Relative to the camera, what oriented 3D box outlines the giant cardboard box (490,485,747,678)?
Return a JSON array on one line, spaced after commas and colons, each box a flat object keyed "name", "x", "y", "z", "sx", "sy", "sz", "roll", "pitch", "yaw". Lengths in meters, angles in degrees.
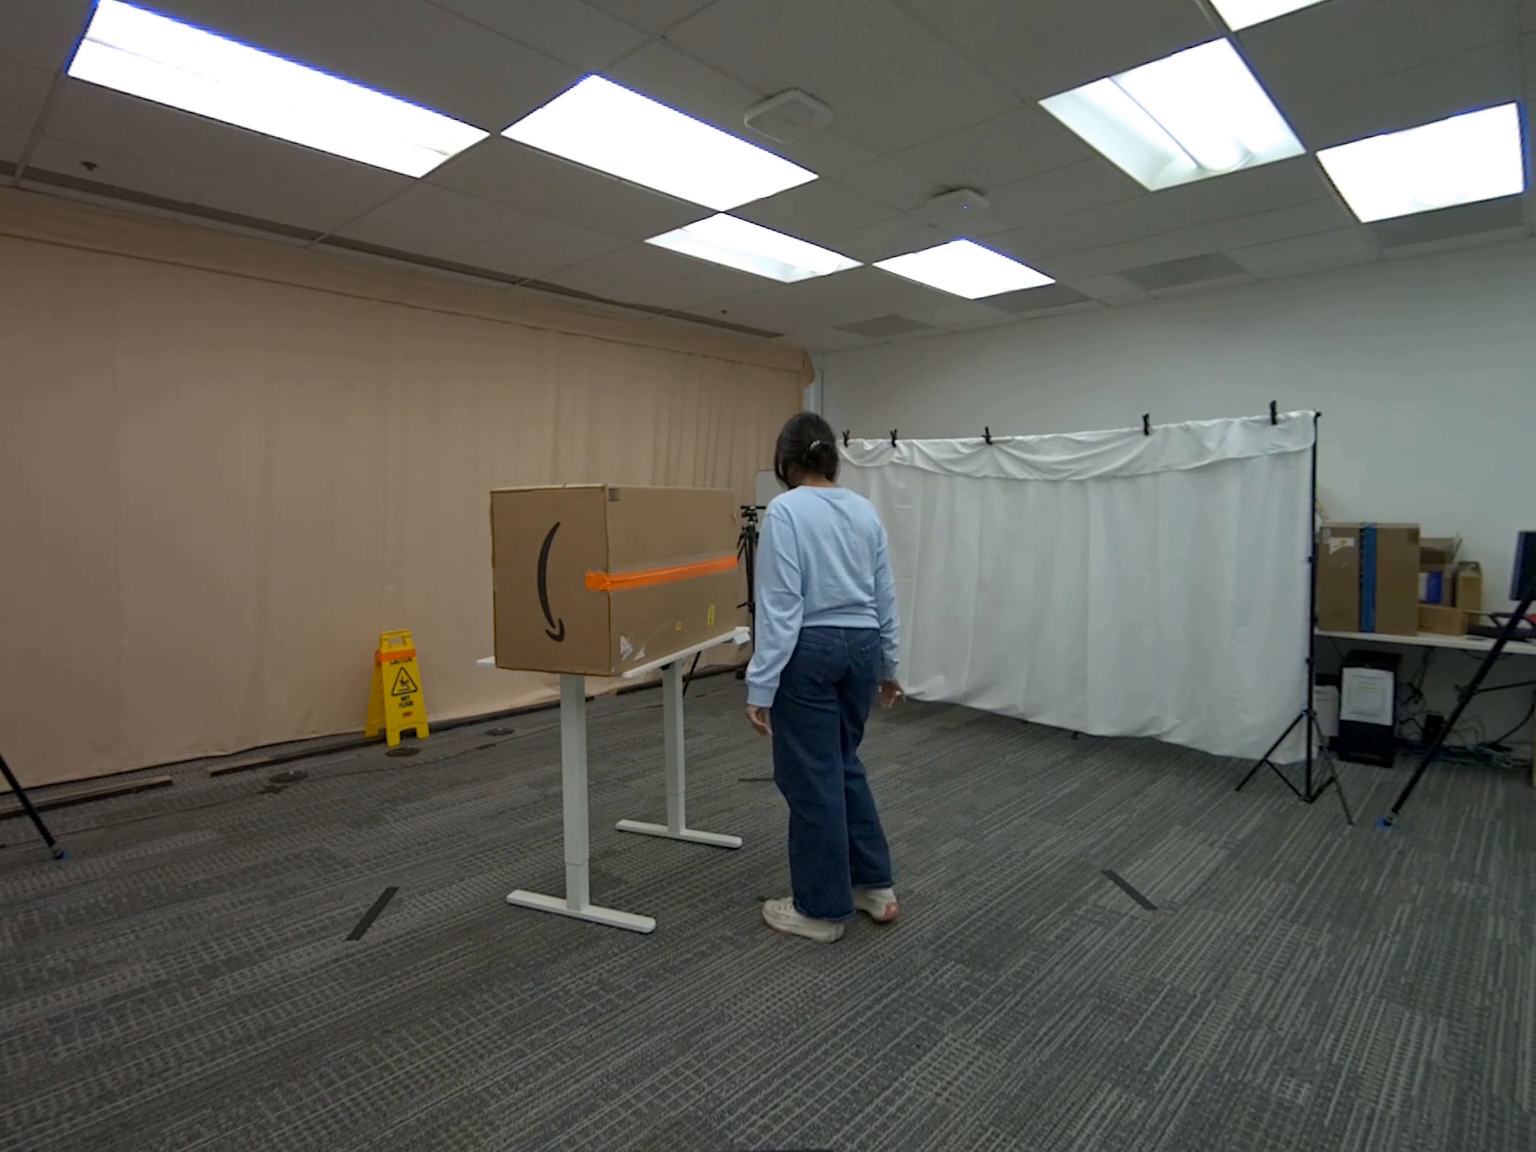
[{"name": "giant cardboard box", "x": -0.505, "y": -0.025, "z": 3.065, "sx": 0.436, "sy": 0.576, "sz": 1.004, "roll": 1, "pitch": 5, "yaw": 22}]
